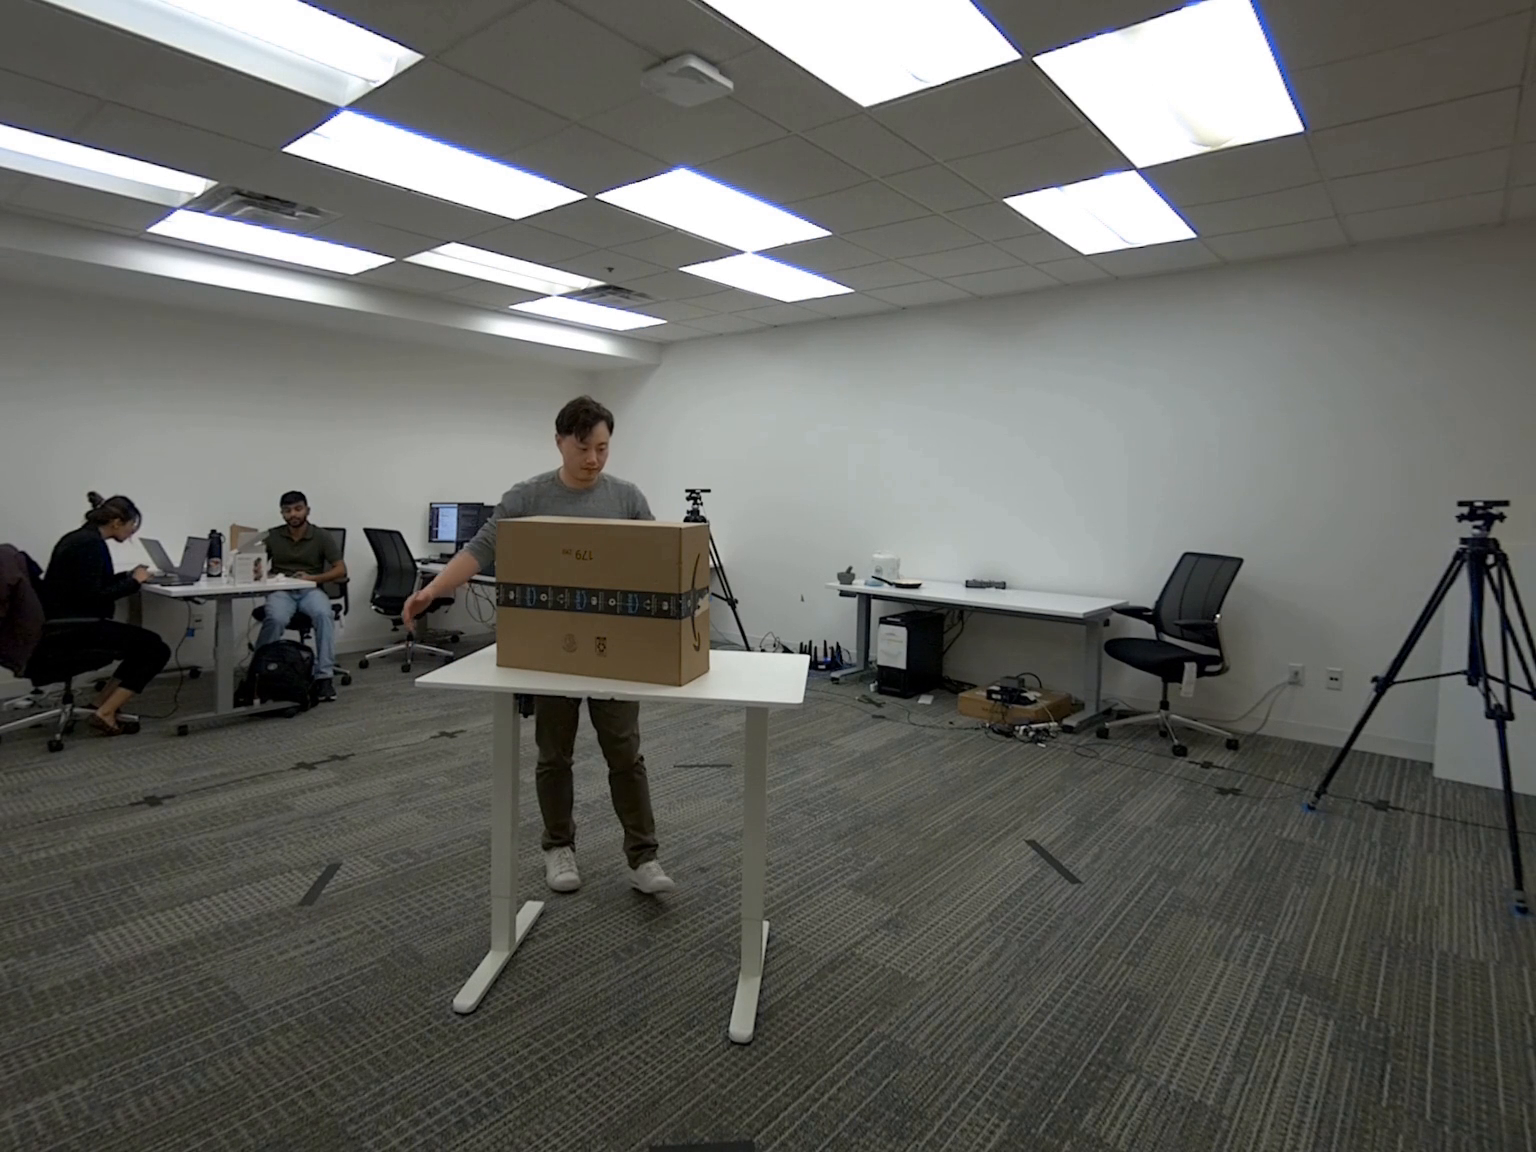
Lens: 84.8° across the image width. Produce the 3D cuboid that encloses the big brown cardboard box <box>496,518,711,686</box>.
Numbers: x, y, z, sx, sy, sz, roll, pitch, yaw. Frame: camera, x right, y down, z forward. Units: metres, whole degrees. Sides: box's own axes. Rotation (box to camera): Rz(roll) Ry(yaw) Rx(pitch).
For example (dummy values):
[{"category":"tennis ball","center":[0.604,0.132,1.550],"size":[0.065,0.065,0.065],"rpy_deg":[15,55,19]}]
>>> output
[{"category":"big brown cardboard box","center":[-0.473,0.055,2.379],"size":[0.601,0.415,0.230],"rpy_deg":[3,7,19]}]
